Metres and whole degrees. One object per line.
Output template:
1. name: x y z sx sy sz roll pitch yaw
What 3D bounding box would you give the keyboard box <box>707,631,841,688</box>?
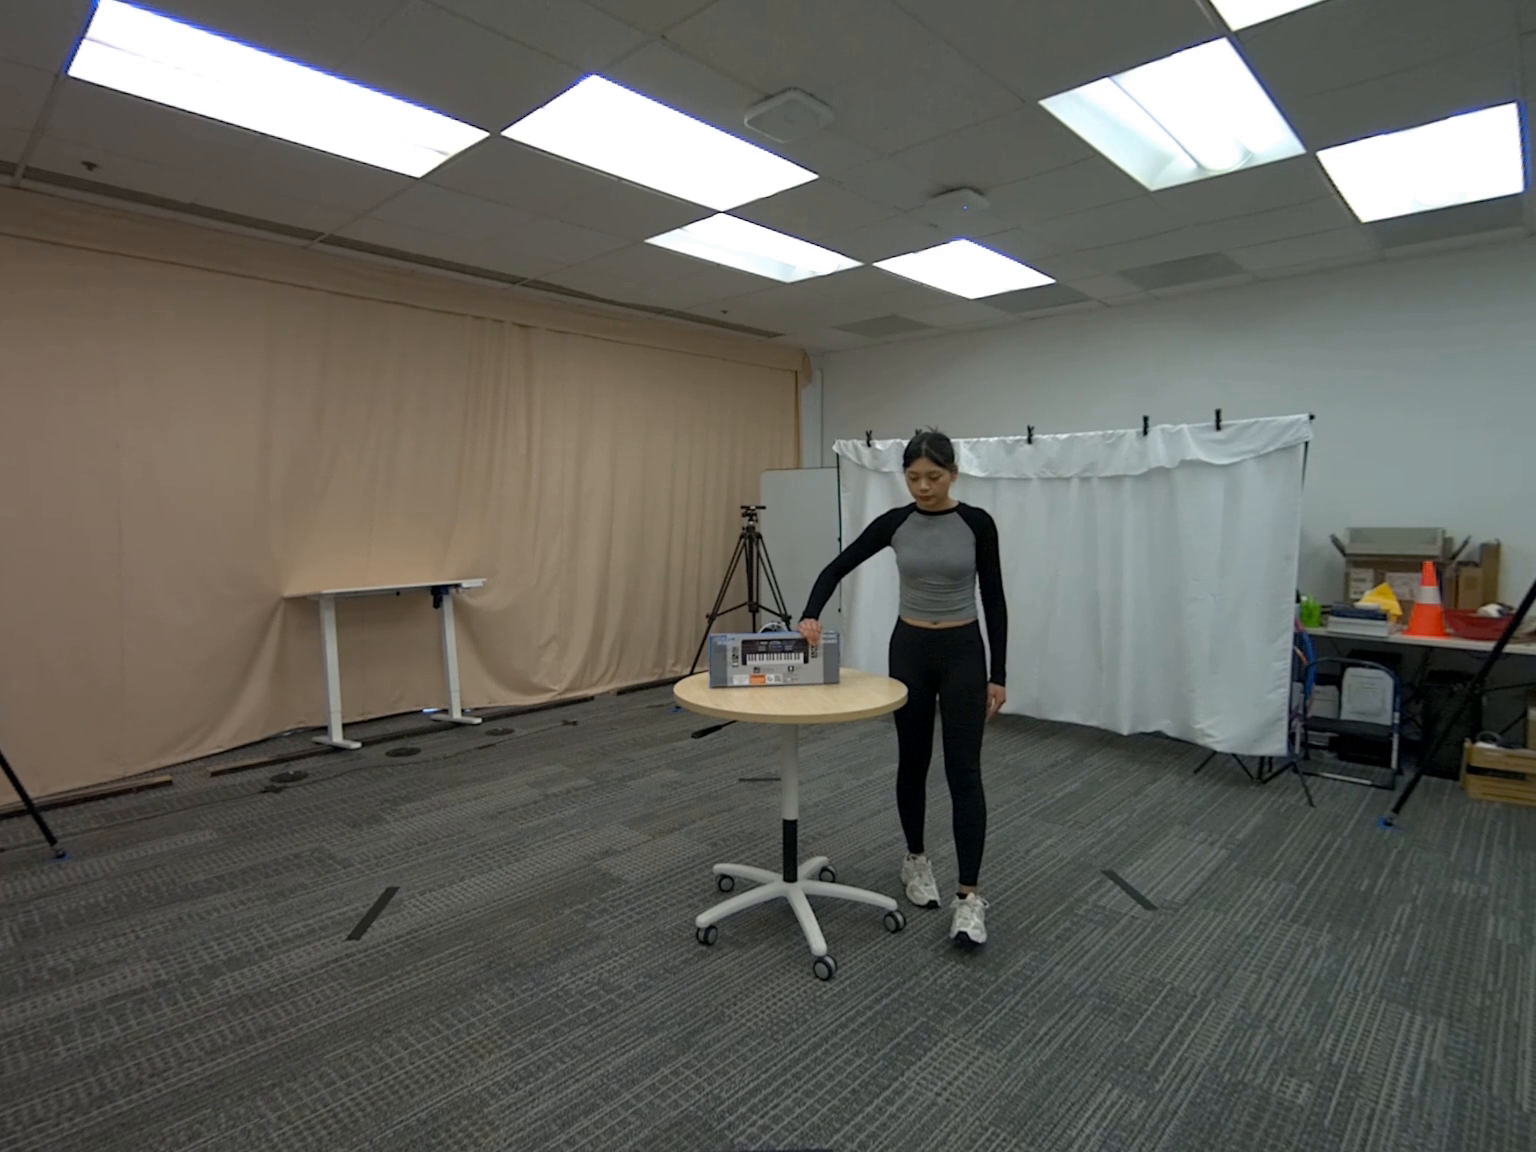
1. keyboard box: 0.022 0.278 2.821 0.434 0.176 0.059 -1 0 -5
